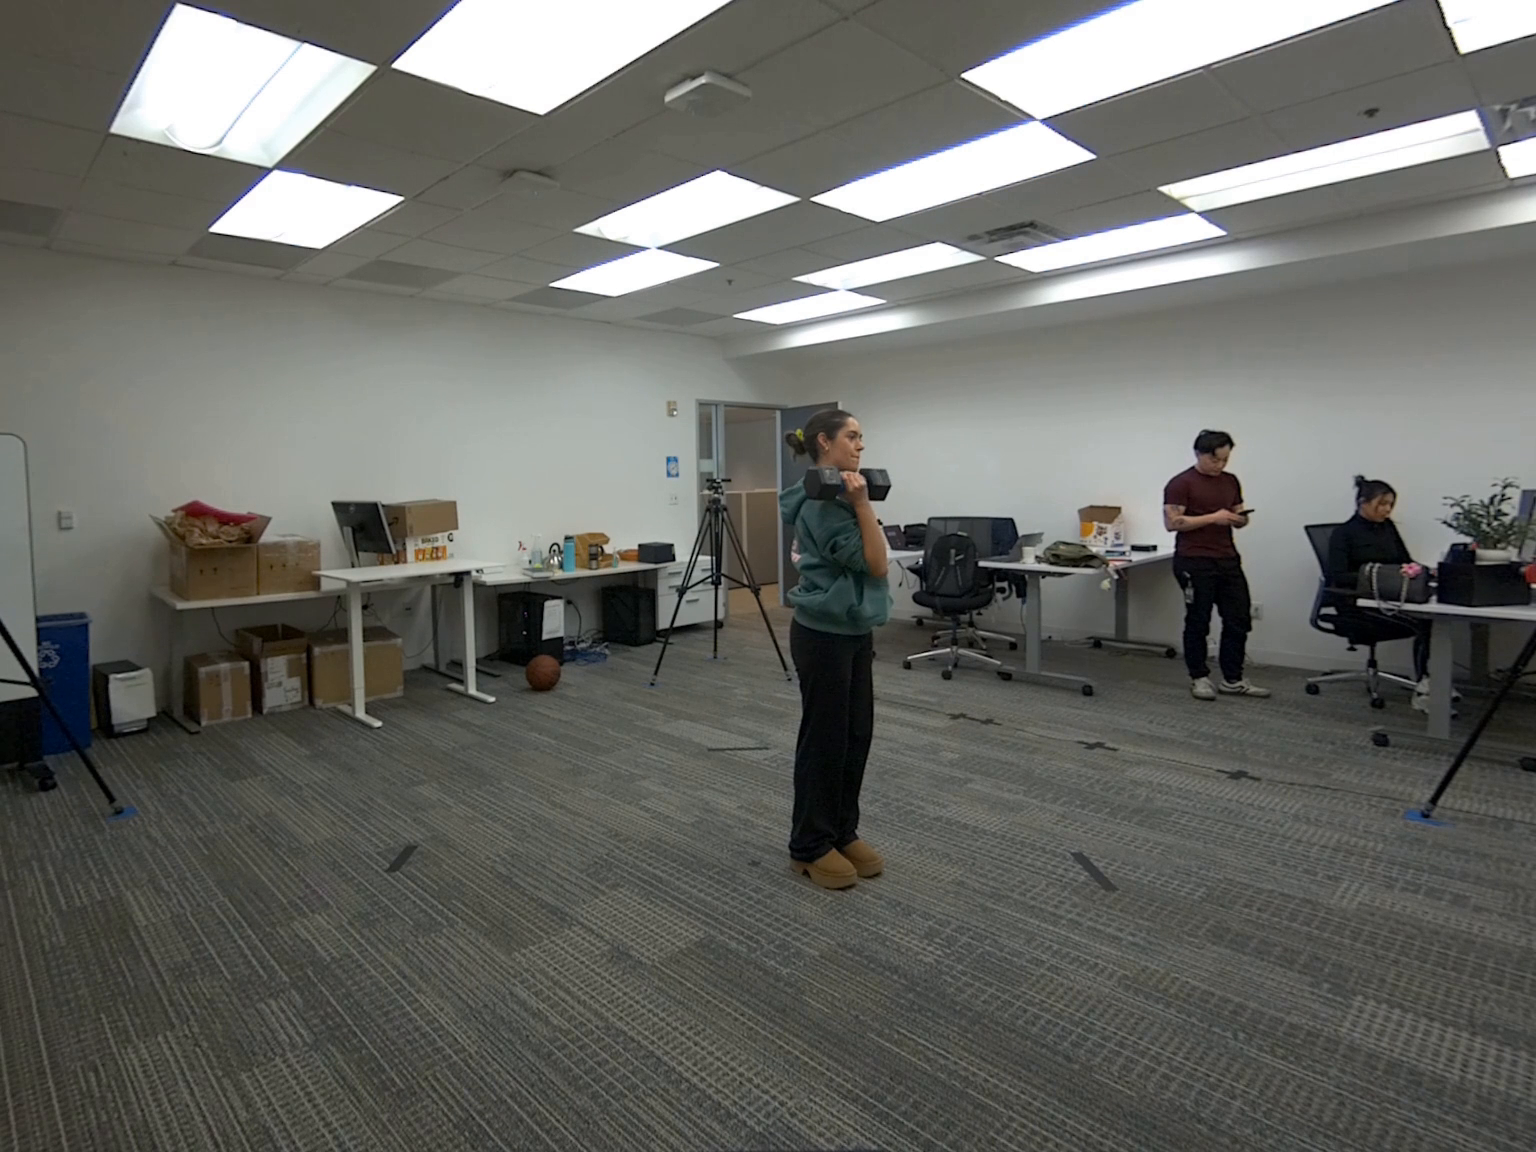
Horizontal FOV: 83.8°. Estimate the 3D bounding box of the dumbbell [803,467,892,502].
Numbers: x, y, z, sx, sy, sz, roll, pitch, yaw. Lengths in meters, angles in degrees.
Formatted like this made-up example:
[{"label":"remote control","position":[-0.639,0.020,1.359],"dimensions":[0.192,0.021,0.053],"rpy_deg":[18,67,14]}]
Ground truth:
[{"label":"dumbbell","position":[0.254,-0.299,2.776],"dimensions":[0.286,0.121,0.113],"rpy_deg":[-2,36,-33]}]
